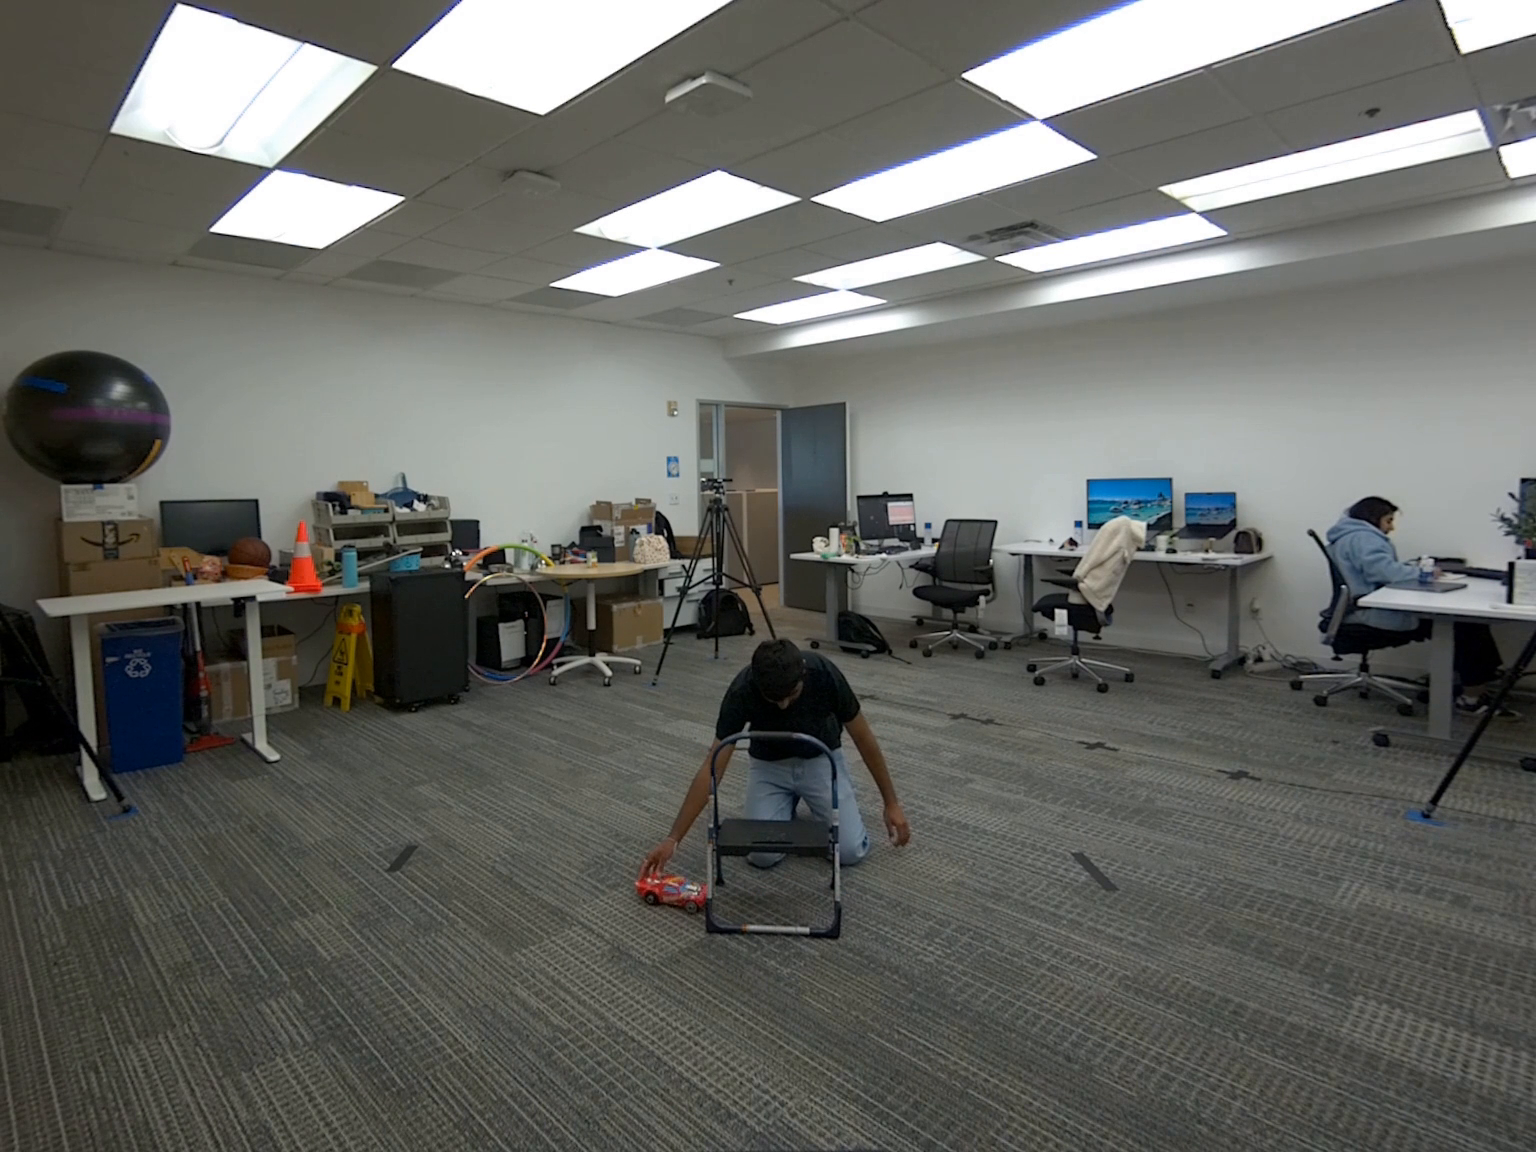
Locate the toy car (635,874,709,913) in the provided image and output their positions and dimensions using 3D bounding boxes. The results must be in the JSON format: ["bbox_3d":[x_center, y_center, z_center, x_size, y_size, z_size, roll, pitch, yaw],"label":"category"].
[{"bbox_3d":[-0.293,1.052,2.829,0.259,0.082,0.129,12,11,16],"label":"toy car"}]
